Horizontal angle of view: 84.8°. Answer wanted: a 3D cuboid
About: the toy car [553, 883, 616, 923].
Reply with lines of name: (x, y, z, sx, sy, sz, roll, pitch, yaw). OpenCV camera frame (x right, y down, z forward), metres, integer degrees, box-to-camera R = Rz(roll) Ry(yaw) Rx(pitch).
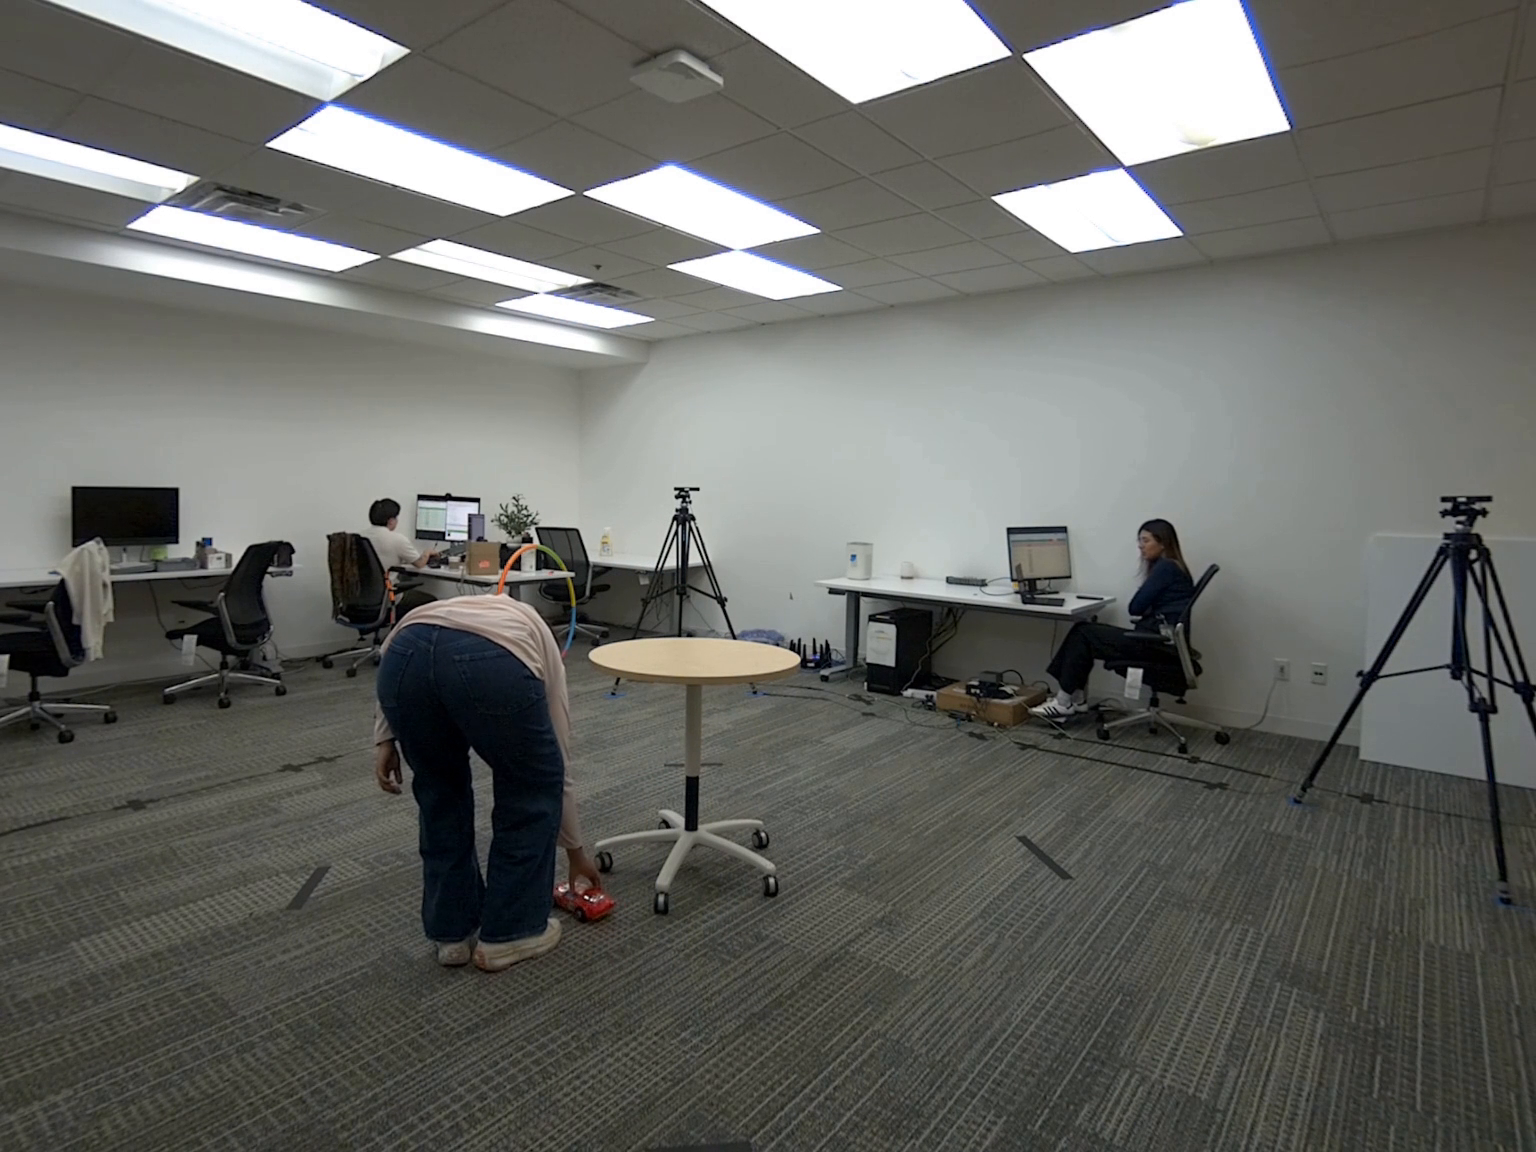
toy car: (-0.621, 1.061, 2.782, 0.261, 0.083, 0.126, -8, -2, 39)
